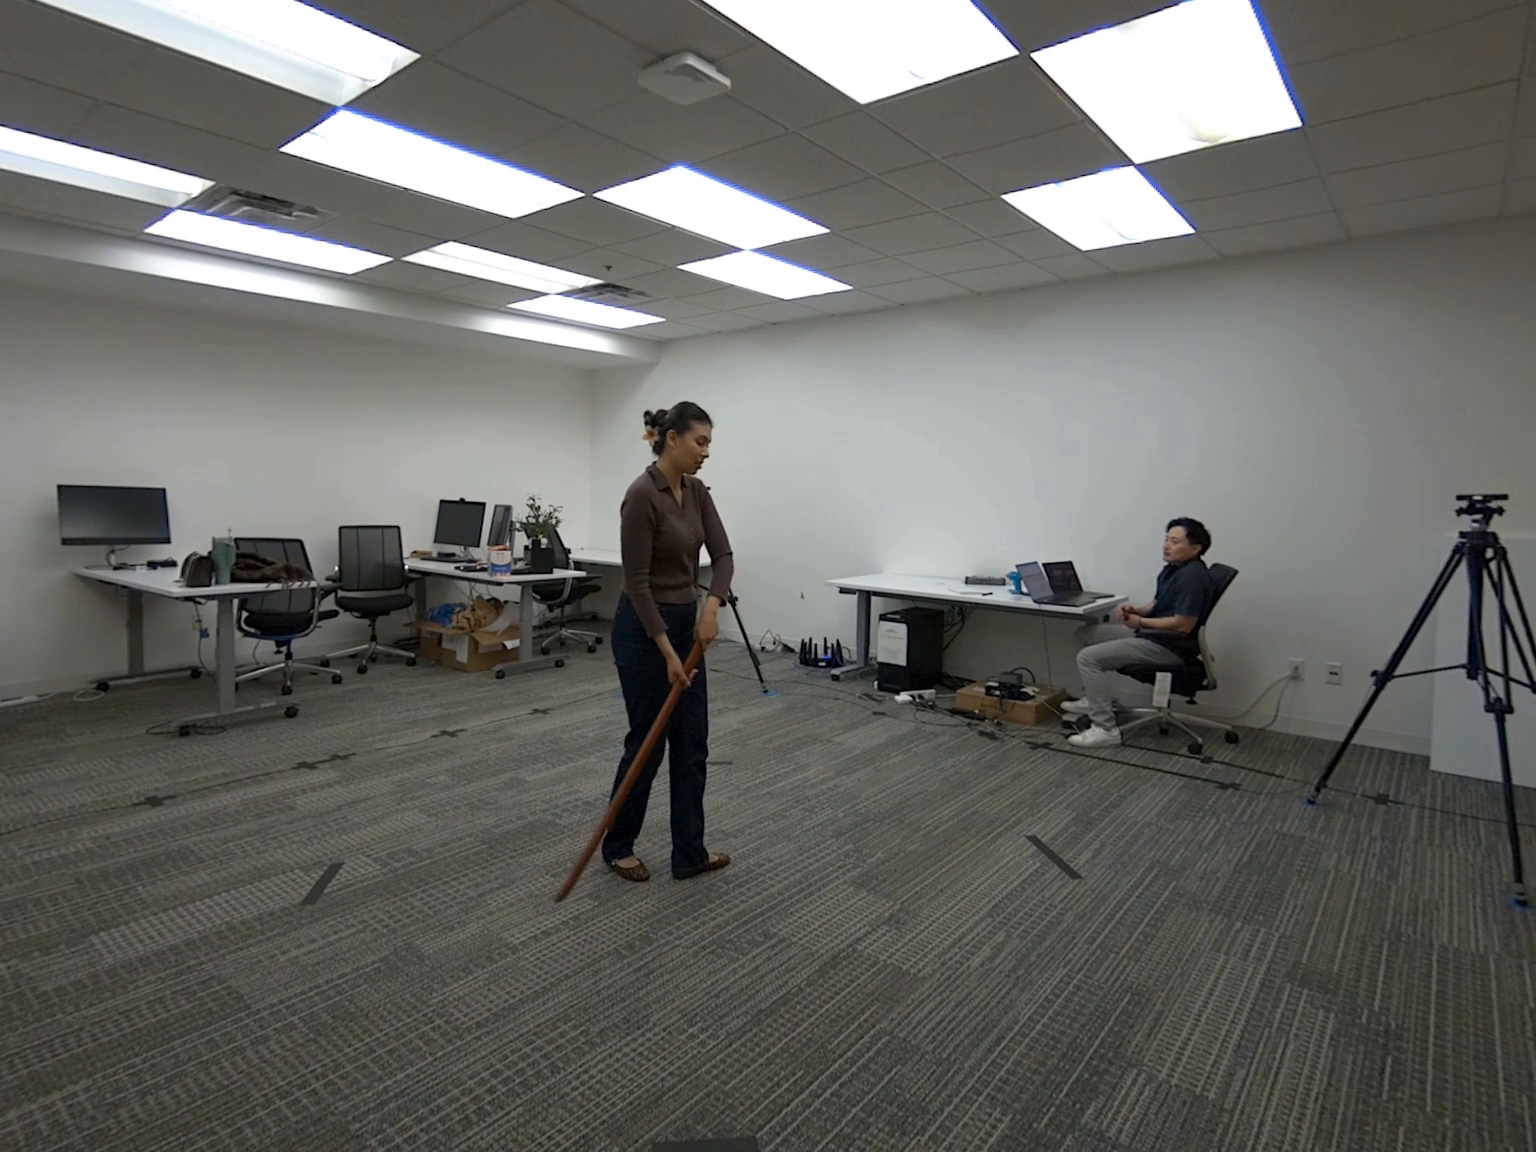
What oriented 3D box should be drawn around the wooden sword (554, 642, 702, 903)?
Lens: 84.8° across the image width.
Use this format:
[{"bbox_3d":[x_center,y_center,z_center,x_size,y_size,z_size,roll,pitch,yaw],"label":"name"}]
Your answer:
[{"bbox_3d":[-0.404,0.571,2.720,0.024,1.031,0.051,33,-26,-4],"label":"wooden sword"}]
